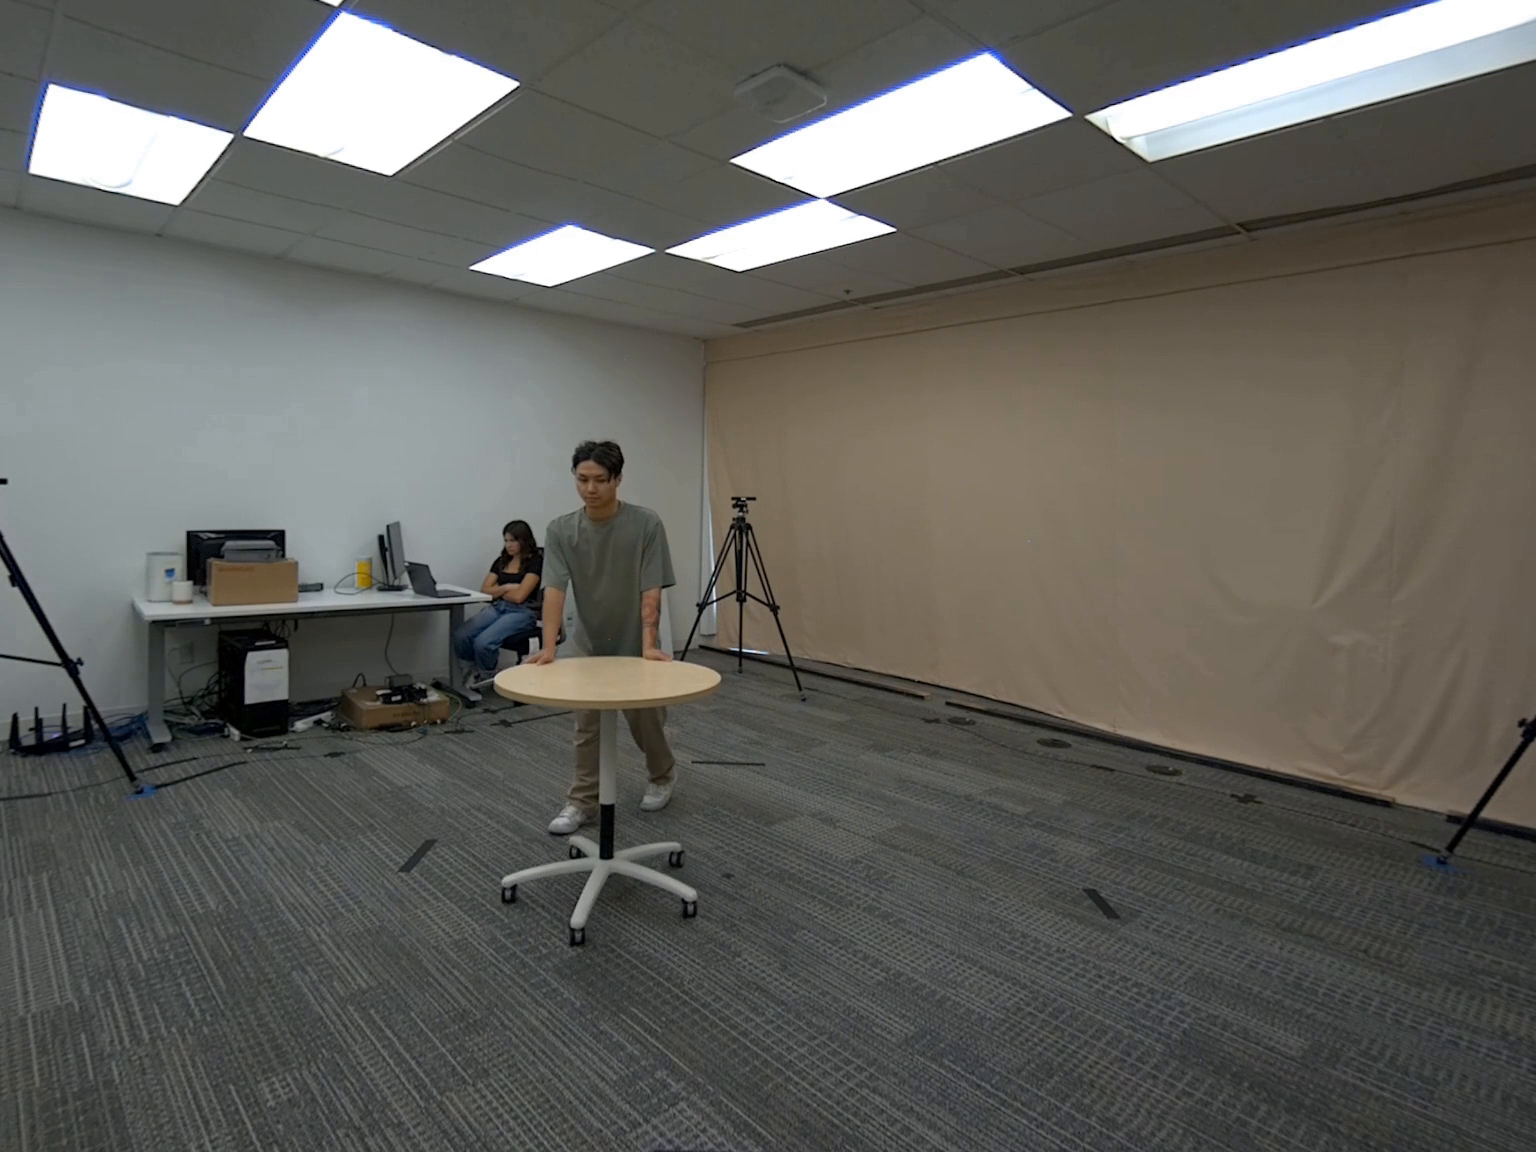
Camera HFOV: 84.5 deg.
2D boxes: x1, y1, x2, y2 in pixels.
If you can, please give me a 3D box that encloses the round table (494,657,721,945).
[{"bbox_3d":[-0.563,0.730,2.892,0.784,0.785,0.787,1,3,-1],"label":"round table"}]
